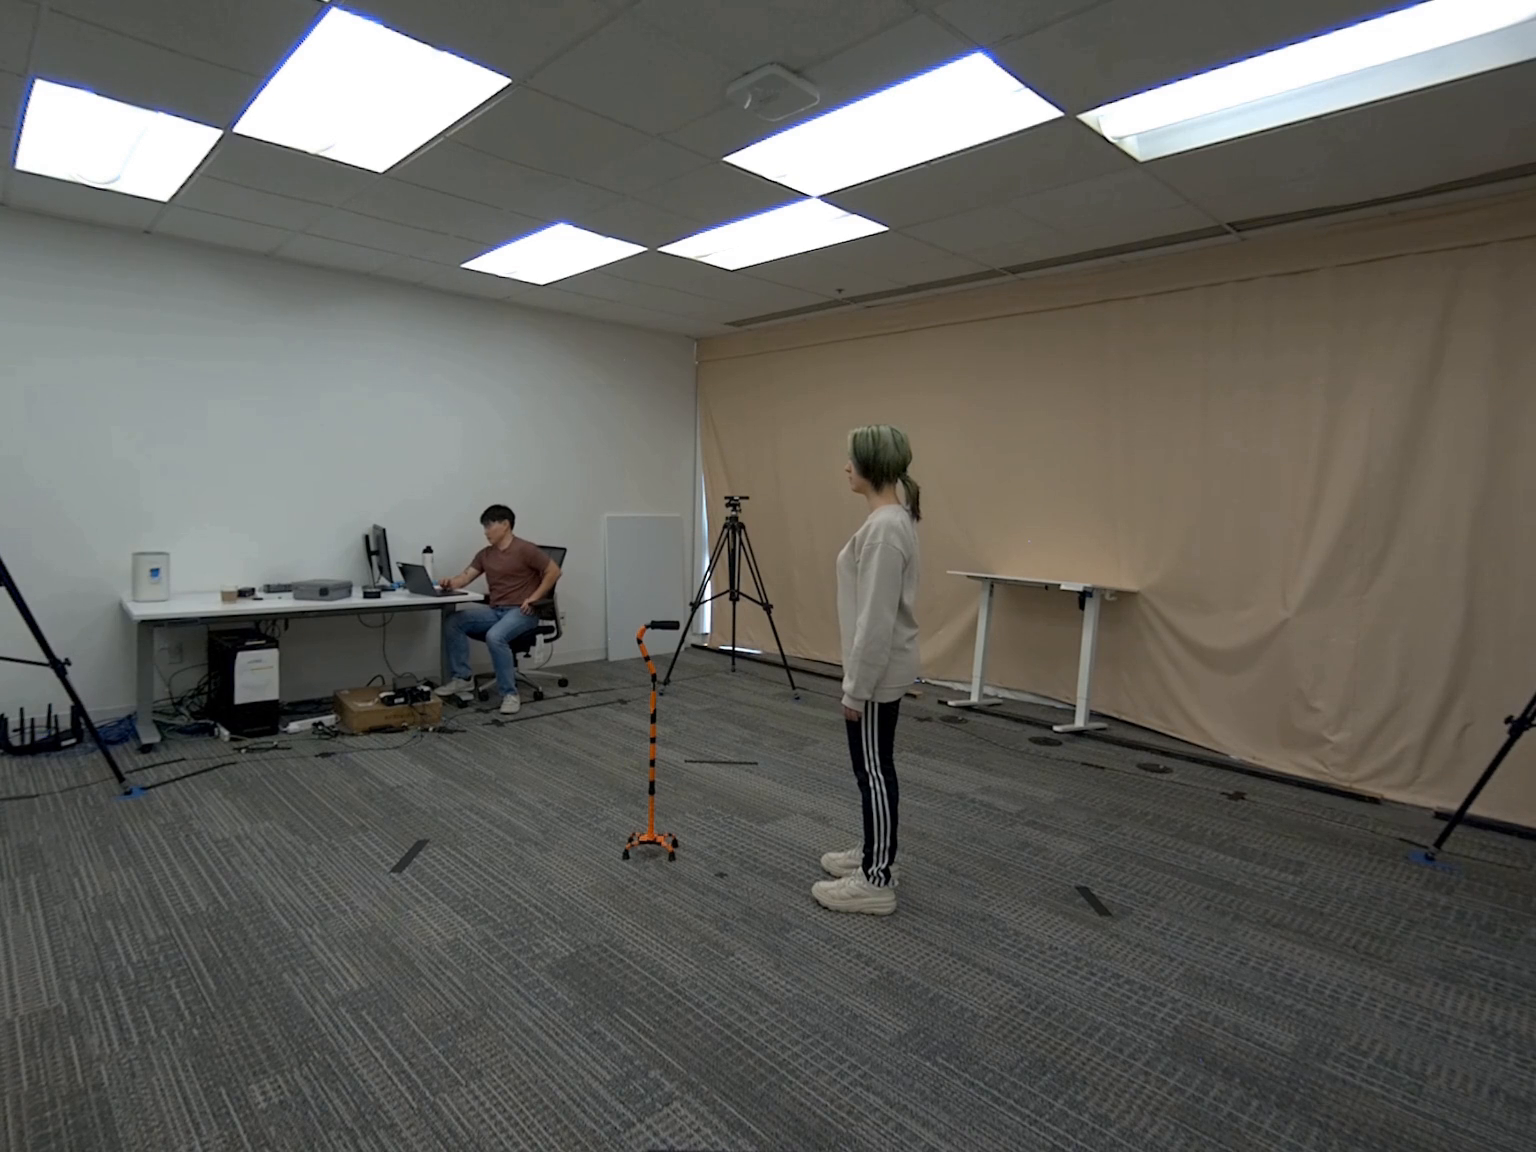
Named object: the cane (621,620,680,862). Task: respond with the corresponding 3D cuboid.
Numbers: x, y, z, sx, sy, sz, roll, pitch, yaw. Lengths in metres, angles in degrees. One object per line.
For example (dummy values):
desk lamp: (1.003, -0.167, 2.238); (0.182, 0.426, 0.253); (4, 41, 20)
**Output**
cane: (-0.453, 0.622, 3.260); (0.206, 0.906, 0.152); (2, 3, 0)
